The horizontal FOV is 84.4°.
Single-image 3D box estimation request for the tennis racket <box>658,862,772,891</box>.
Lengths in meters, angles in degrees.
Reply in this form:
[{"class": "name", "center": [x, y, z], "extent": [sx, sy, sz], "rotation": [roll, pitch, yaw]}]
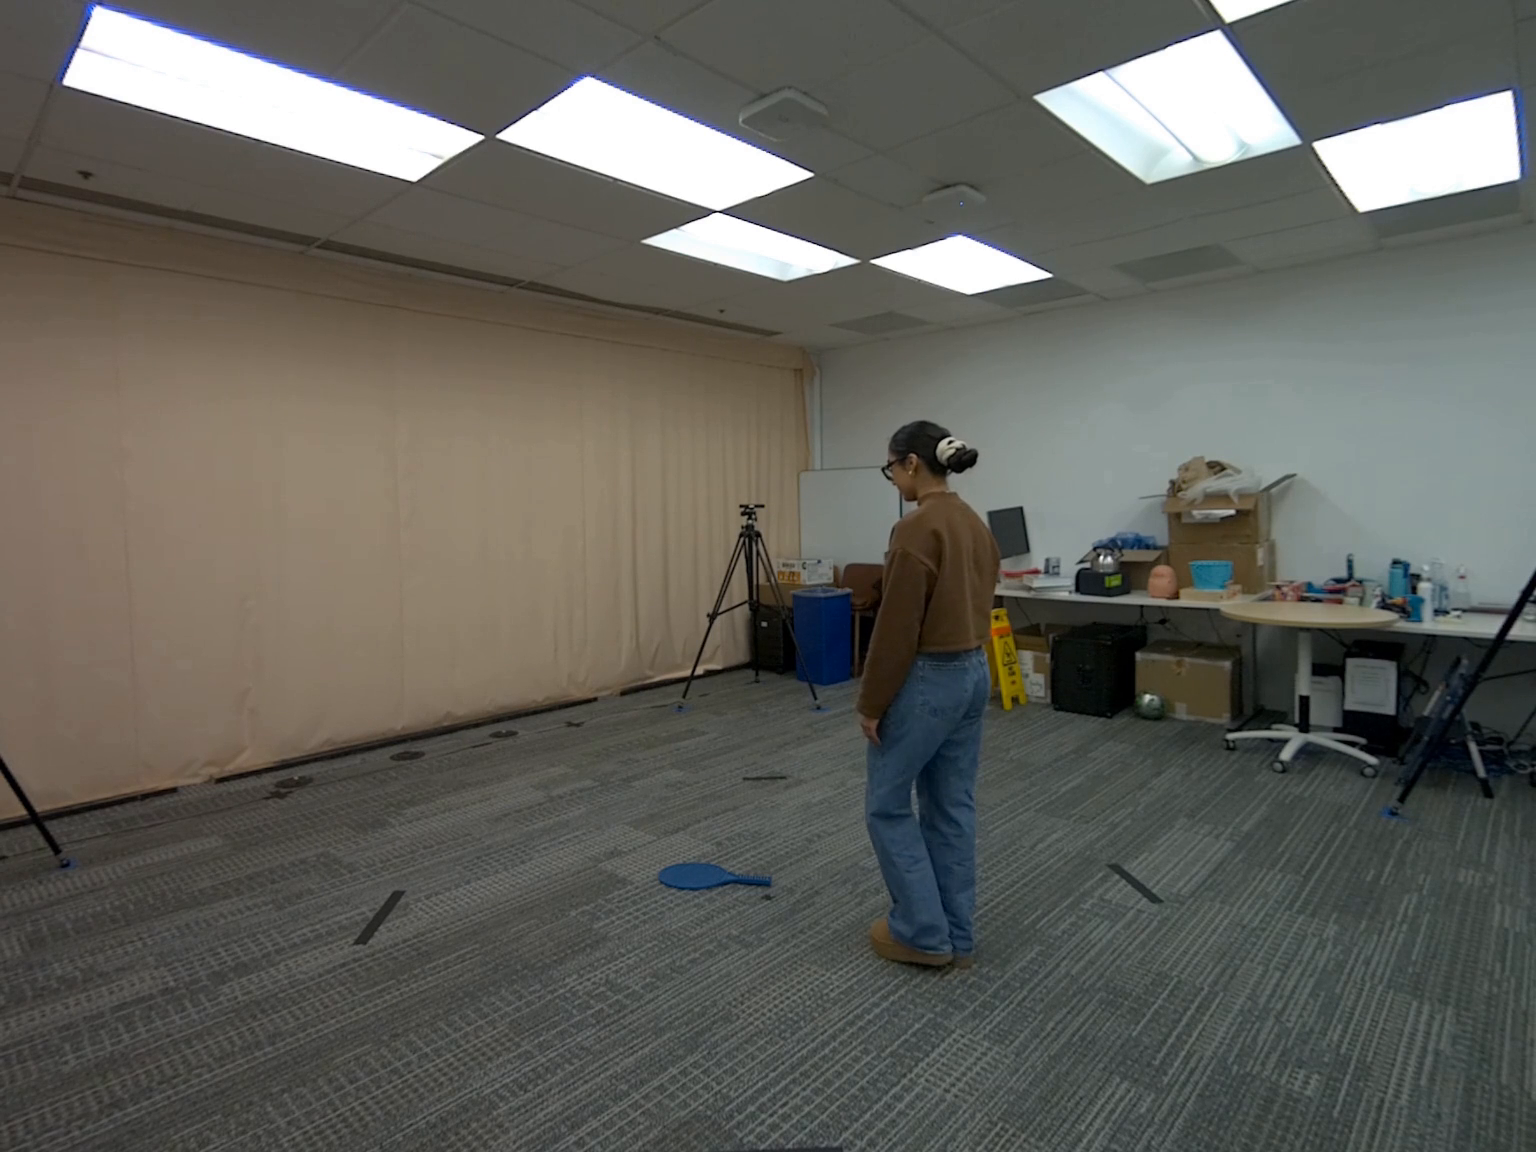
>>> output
[{"class": "tennis racket", "center": [-0.199, 1.116, 3.129], "extent": [0.440, 0.031, 0.211], "rotation": [-1, 5, 16]}]
